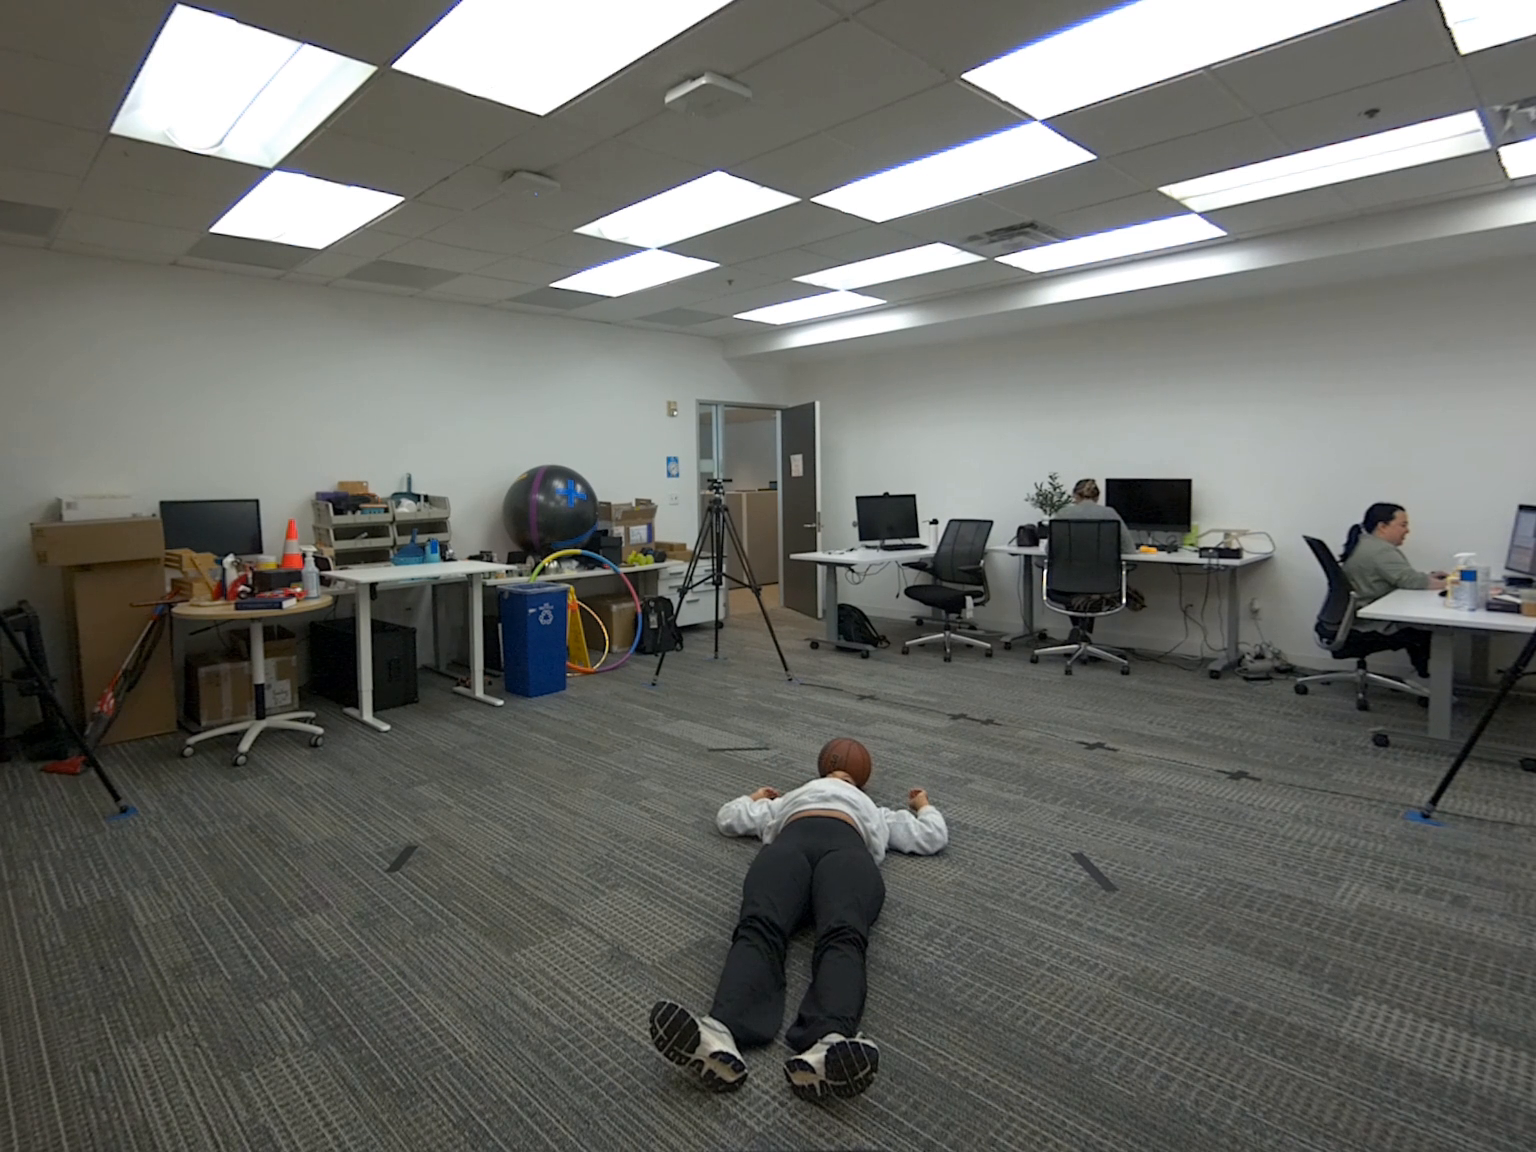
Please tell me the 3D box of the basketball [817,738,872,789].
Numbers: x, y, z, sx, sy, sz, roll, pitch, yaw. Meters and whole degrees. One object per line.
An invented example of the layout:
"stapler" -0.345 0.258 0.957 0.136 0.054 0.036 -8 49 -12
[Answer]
"basketball" 0.342 0.841 3.808 0.236 0.235 0.237 -1 4 -2
